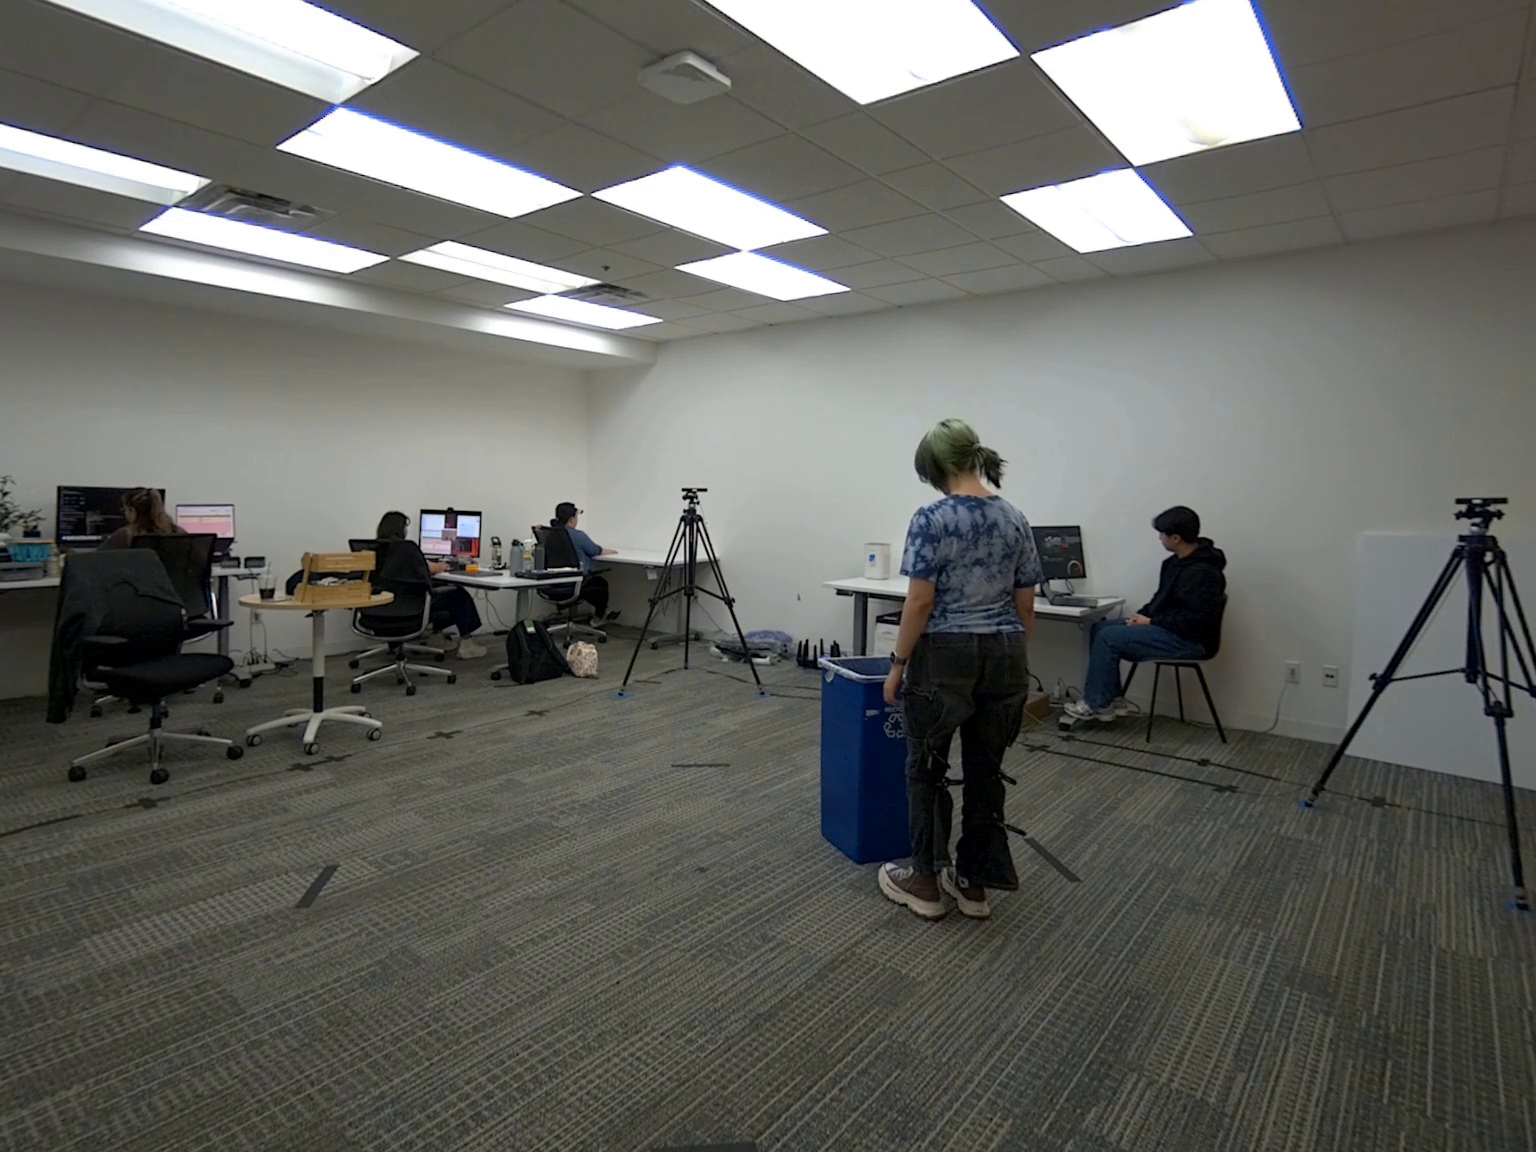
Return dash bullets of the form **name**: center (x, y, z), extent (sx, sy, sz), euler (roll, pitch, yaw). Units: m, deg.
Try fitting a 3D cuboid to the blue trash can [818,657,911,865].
- **blue trash can**: center (0.418, 0.704, 3.353), extent (0.366, 0.711, 0.388), euler (1, 4, -23)
